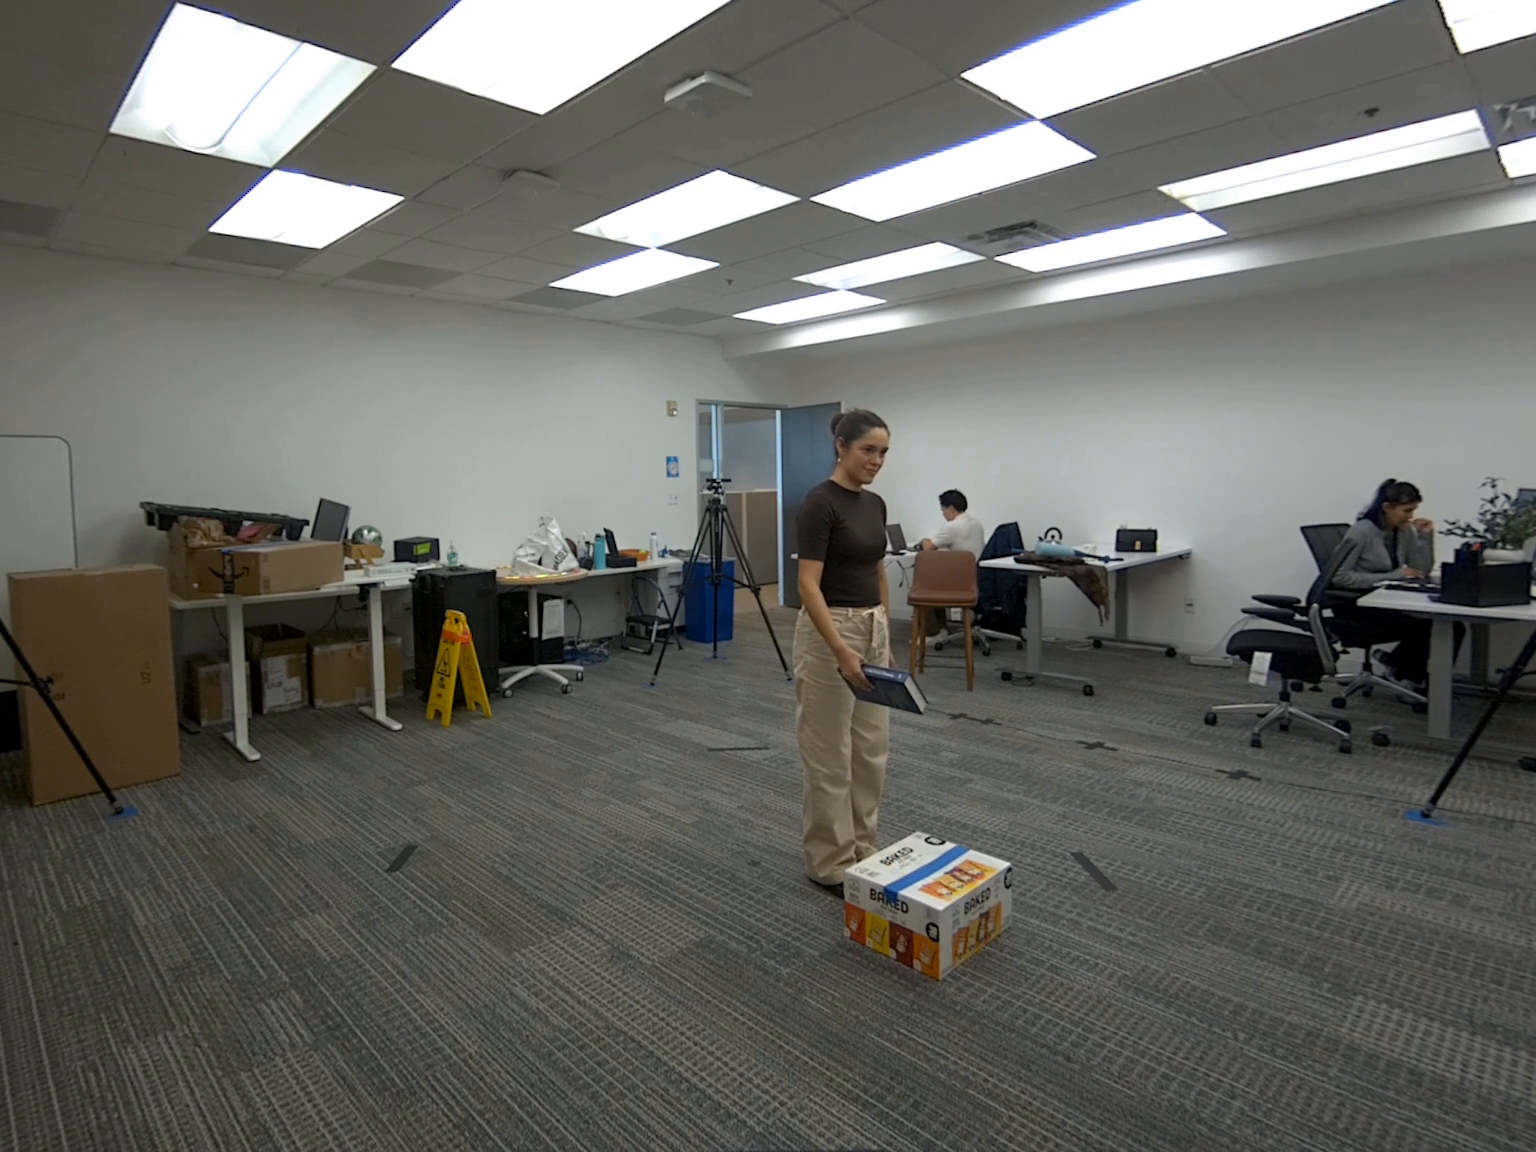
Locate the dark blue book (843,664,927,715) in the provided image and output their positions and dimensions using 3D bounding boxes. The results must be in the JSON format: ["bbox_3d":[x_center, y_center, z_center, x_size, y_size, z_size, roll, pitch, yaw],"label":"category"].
[{"bbox_3d":[0.352,0.342,2.629,0.253,0.157,0.045,7,52,44],"label":"dark blue book"}]
